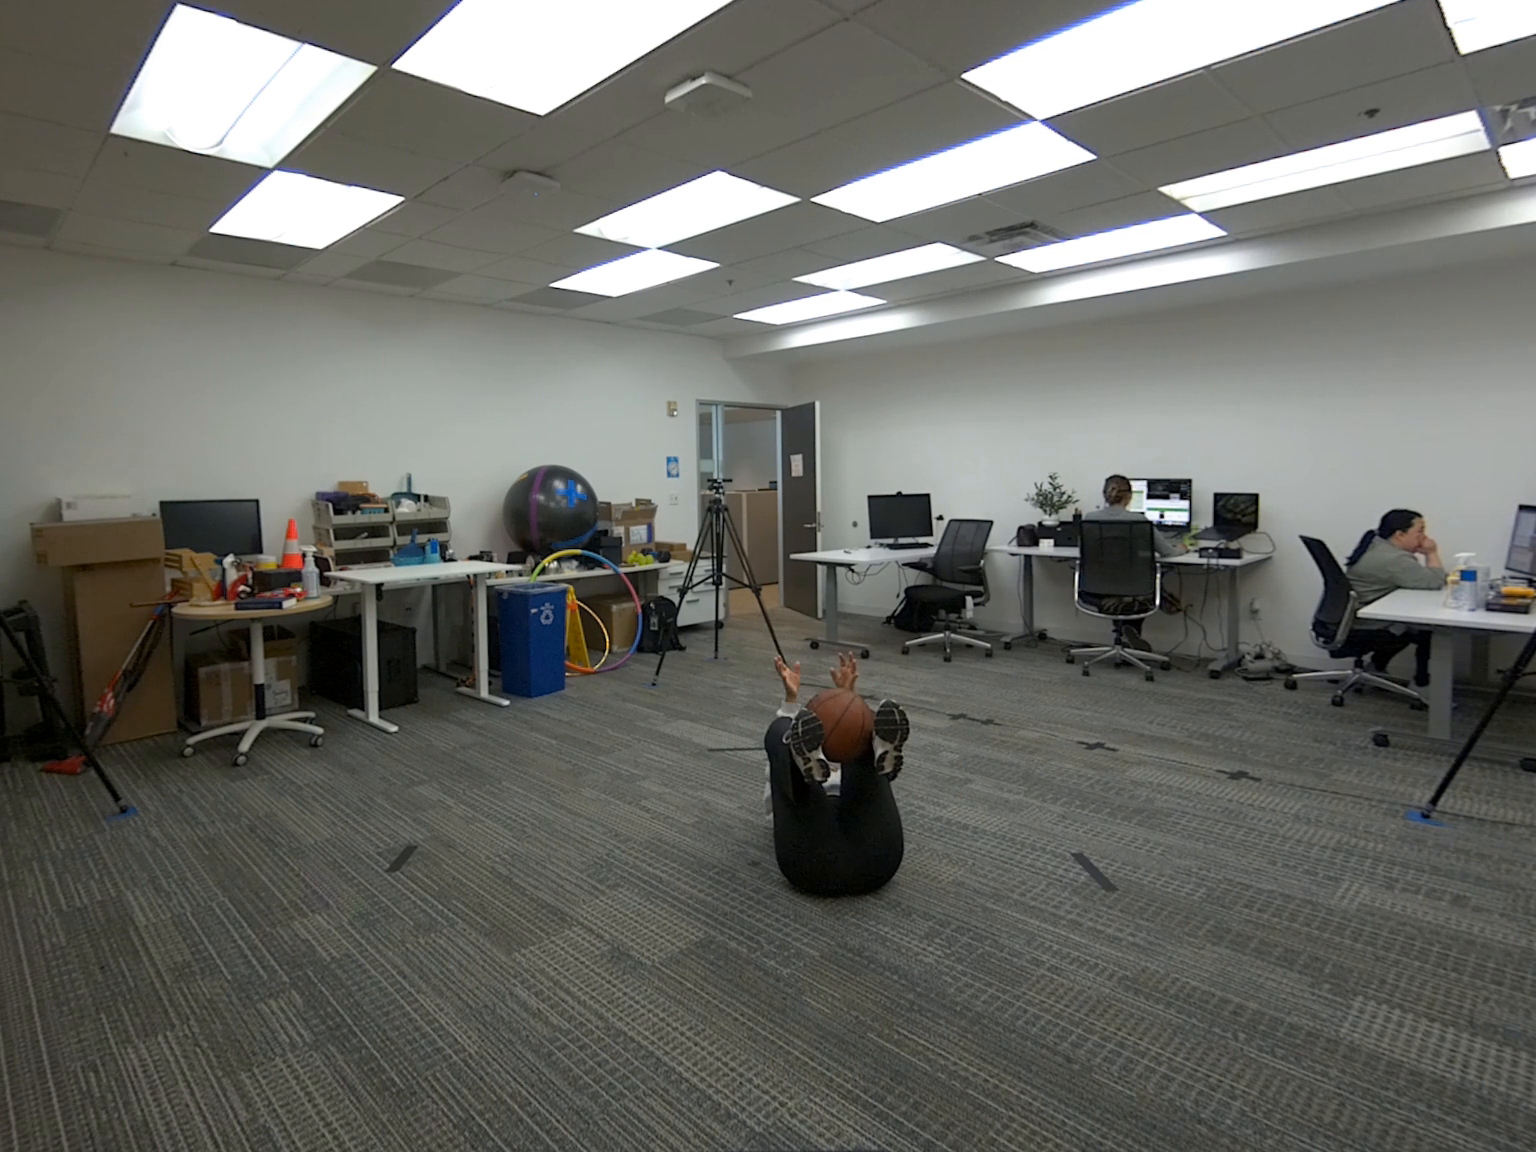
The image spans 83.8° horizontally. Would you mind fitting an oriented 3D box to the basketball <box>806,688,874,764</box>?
[{"bbox_3d":[0.234,0.489,2.776,0.236,0.235,0.237,-1,5,-2],"label":"basketball"}]
